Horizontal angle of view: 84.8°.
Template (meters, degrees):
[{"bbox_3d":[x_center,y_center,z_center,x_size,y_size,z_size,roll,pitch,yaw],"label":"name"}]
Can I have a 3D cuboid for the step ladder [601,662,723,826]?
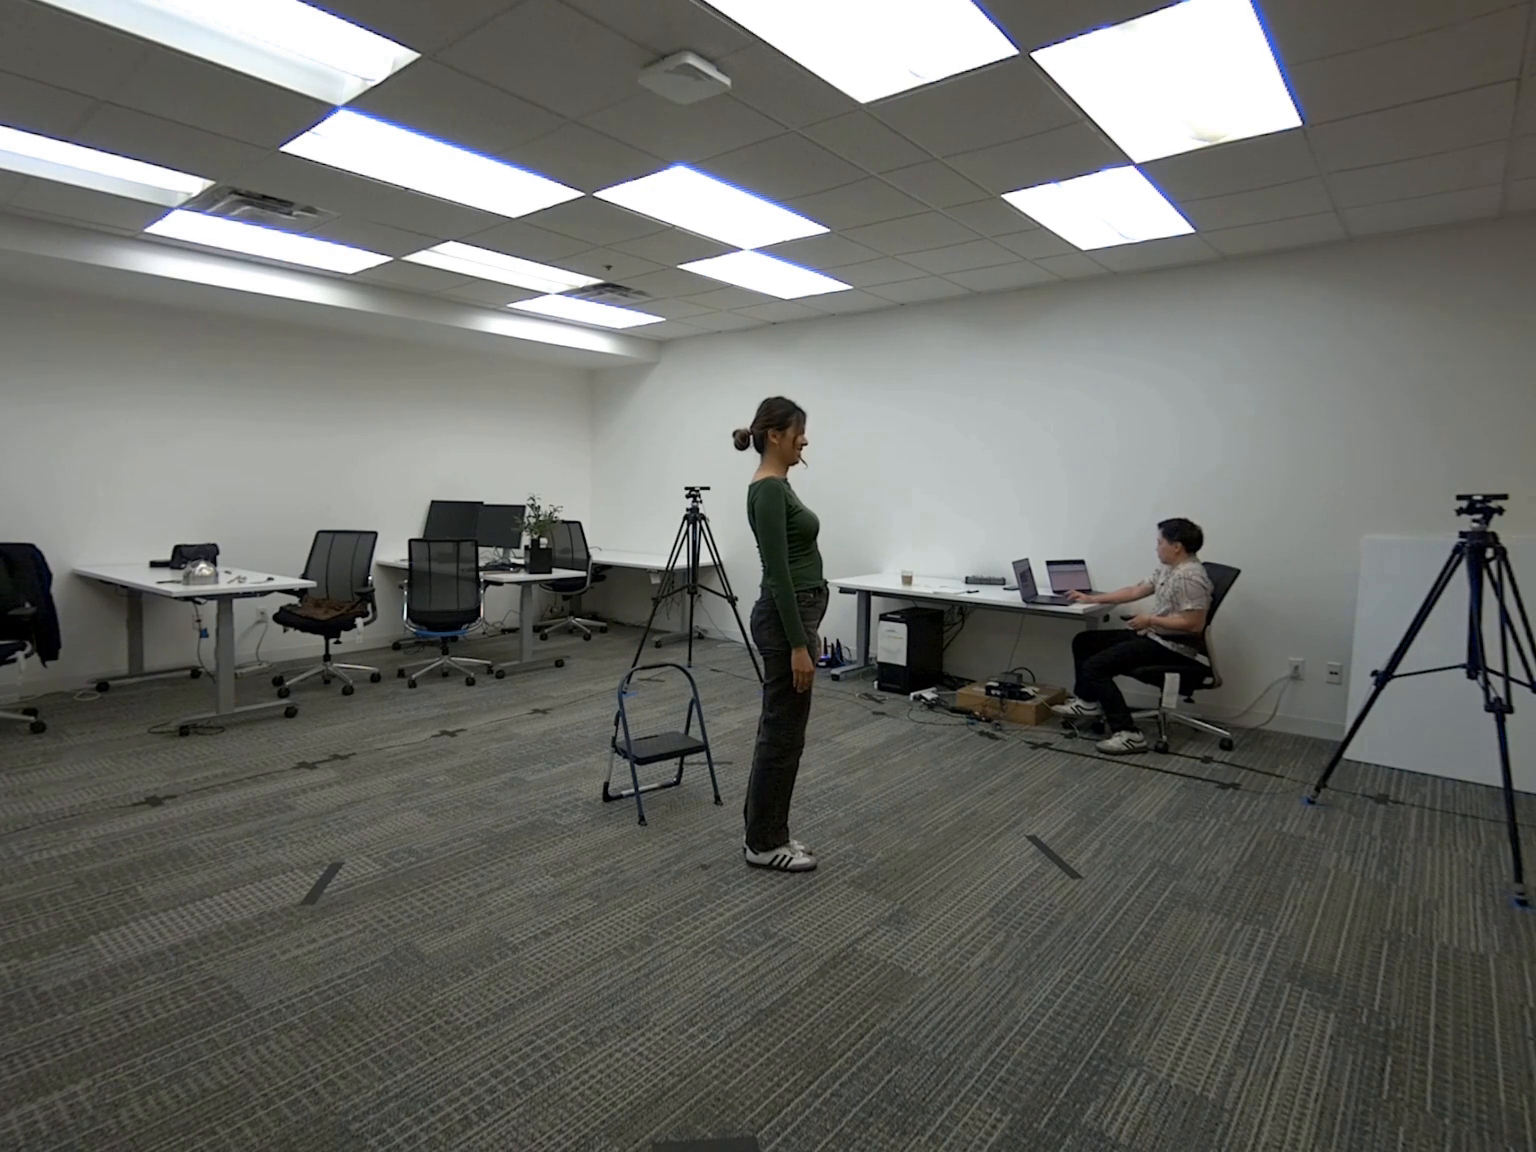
[{"bbox_3d":[-0.475,0.696,3.739,0.418,0.604,0.361,-2,4,-40],"label":"step ladder"}]
